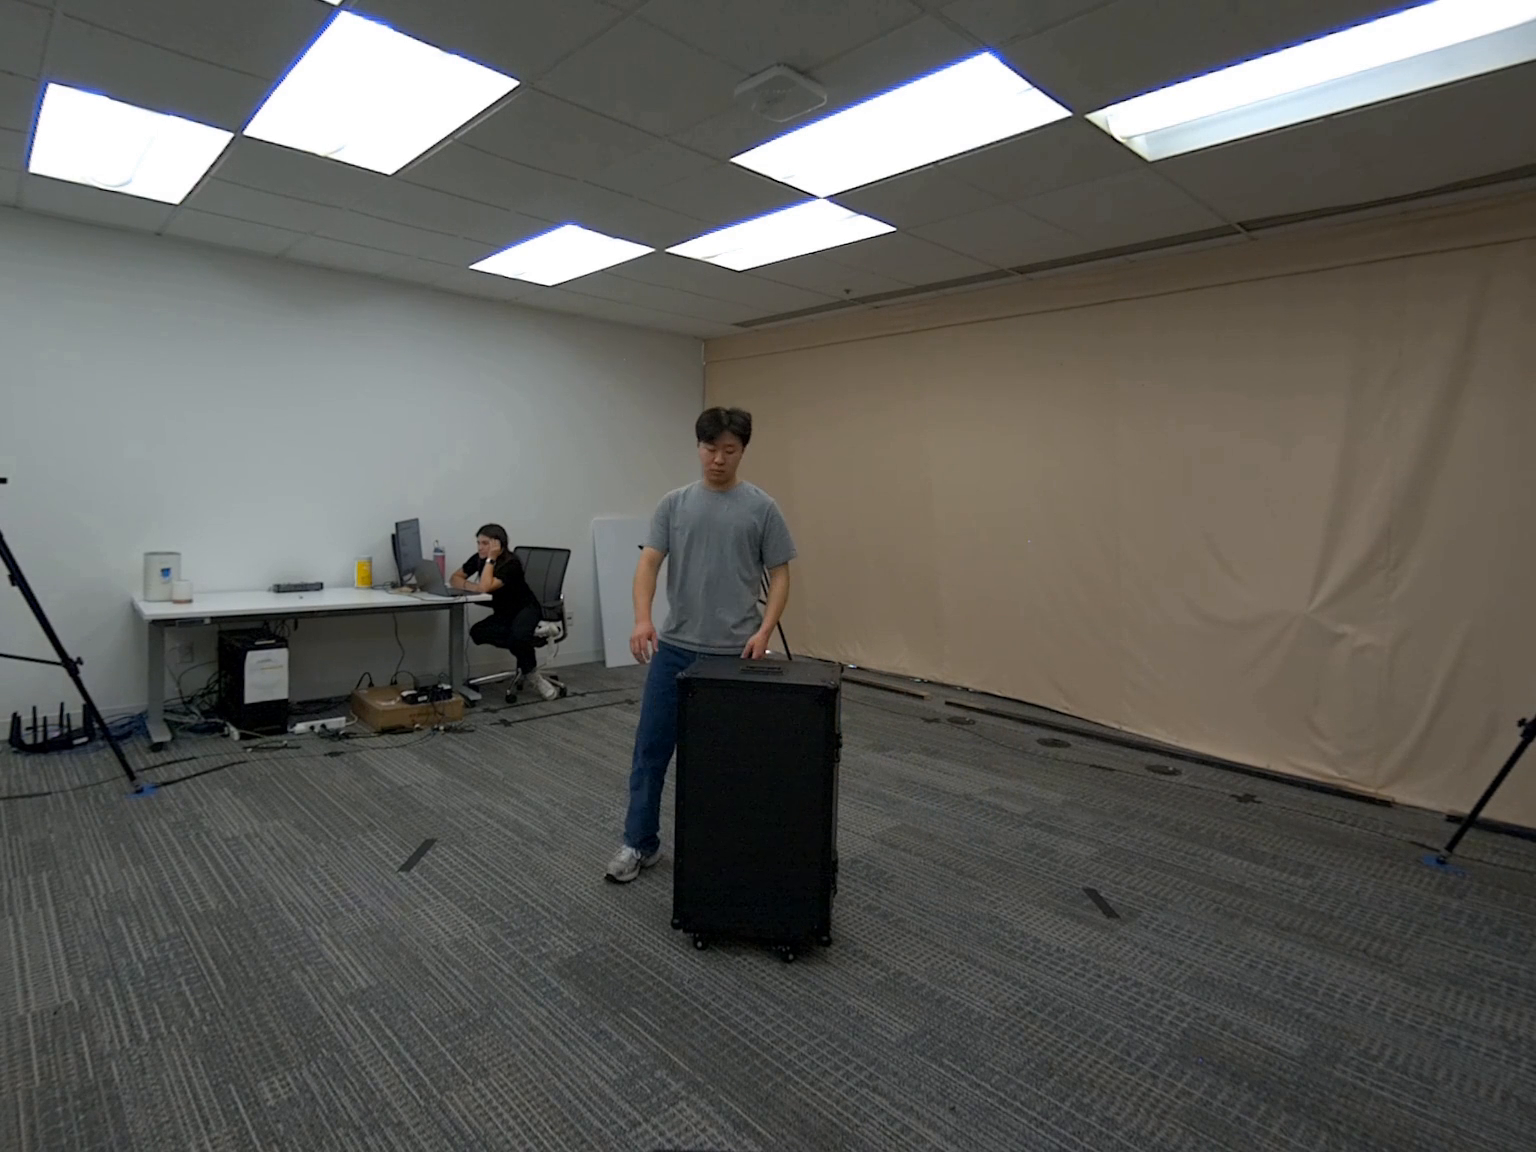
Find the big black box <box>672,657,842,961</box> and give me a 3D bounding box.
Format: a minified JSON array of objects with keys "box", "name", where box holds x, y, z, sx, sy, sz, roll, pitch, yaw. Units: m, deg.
[{"box":[-0.032,0.723,2.693,0.526,0.860,0.393,1,2,11],"name":"big black box"}]
